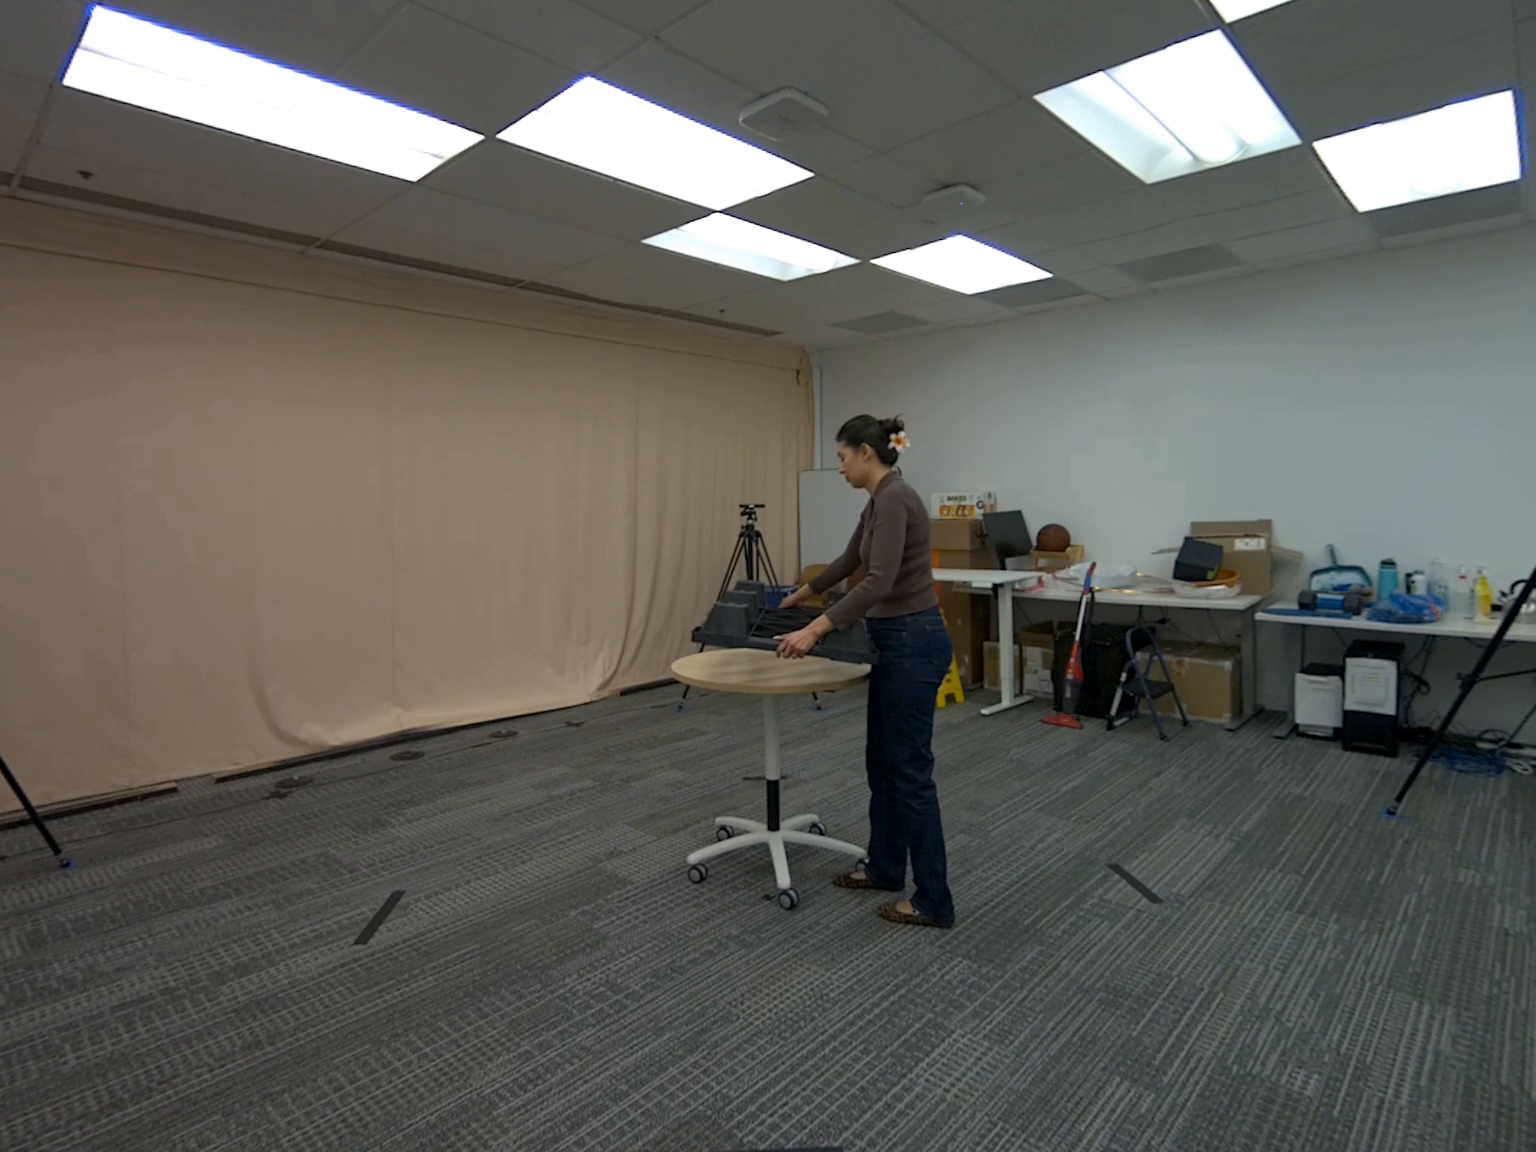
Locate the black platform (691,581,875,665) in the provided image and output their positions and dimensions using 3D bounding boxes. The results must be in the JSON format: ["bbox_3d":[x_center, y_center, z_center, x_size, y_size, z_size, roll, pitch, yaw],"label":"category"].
[{"bbox_3d":[0.091,0.150,3.045,0.610,0.143,0.802,5,6,6],"label":"black platform"}]
